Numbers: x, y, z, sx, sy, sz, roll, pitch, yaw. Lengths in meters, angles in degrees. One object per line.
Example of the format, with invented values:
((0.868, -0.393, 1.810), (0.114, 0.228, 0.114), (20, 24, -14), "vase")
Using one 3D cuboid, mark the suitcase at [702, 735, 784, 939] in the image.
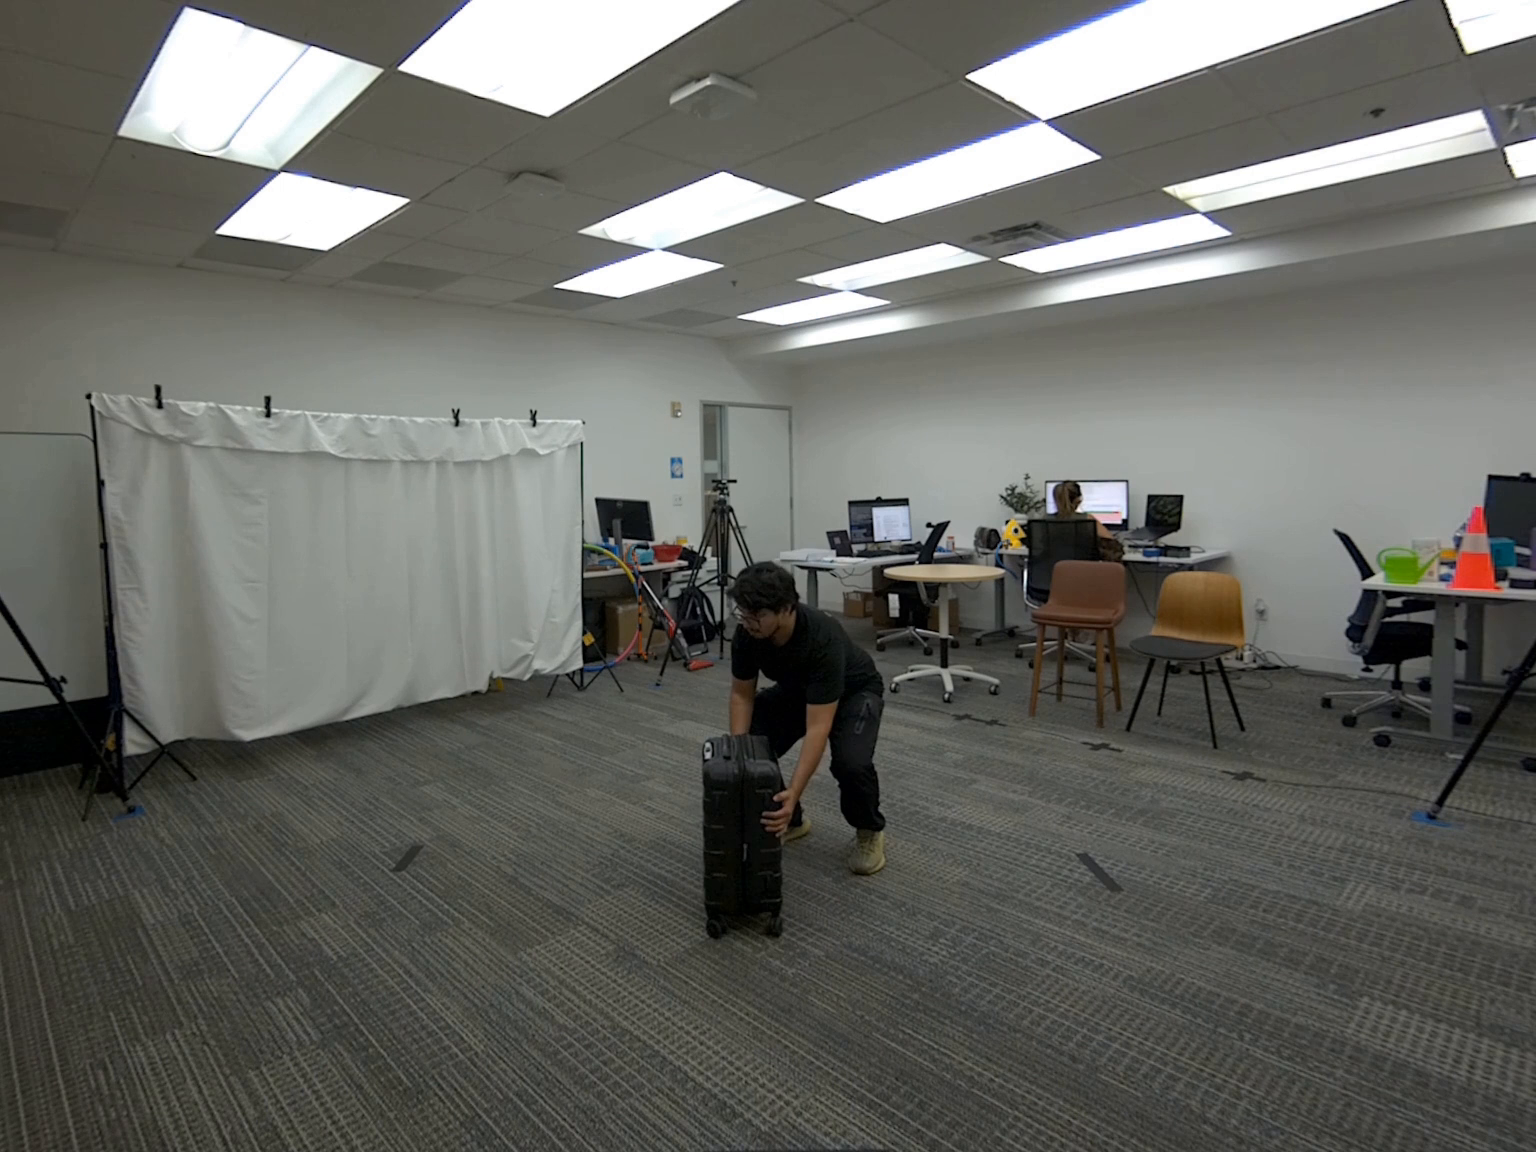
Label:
((-0.091, 0.815, 2.767), (0.248, 0.547, 0.378), (-2, 5, -3), "suitcase")
